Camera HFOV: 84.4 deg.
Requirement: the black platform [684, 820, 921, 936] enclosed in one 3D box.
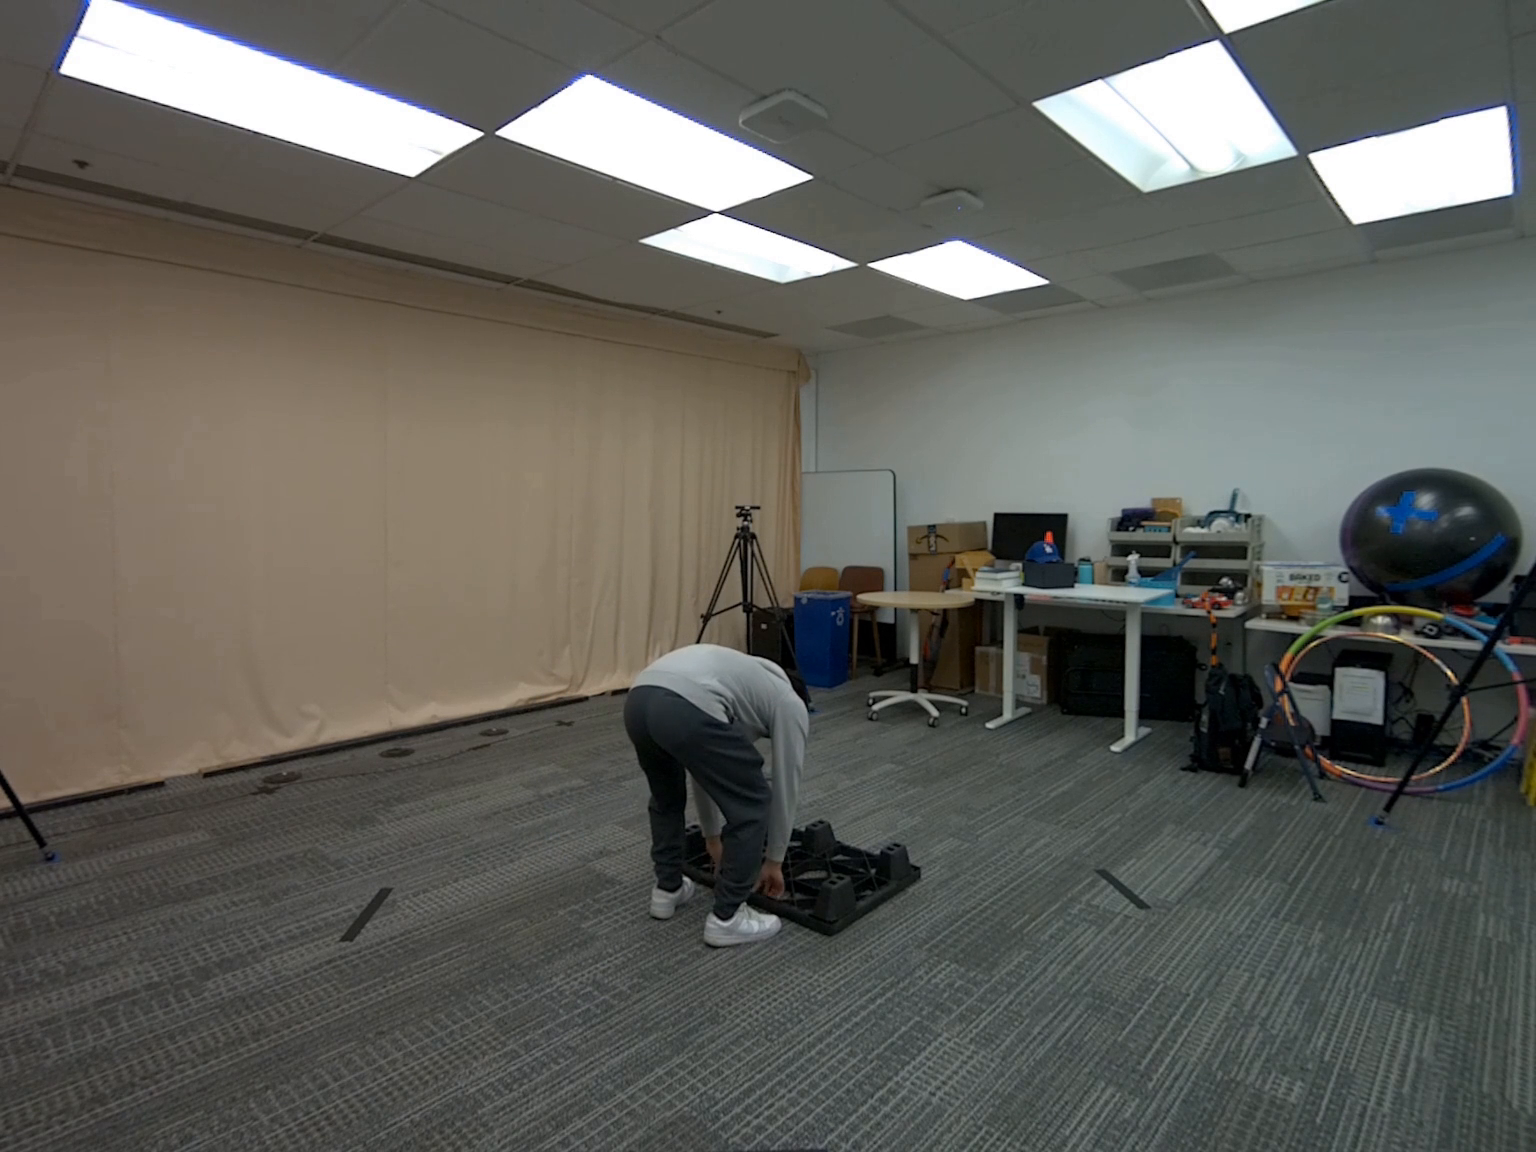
[{"bbox_3d":[0.088,1.061,3.194,0.832,0.143,0.587,4,7,40],"label":"black platform"}]
